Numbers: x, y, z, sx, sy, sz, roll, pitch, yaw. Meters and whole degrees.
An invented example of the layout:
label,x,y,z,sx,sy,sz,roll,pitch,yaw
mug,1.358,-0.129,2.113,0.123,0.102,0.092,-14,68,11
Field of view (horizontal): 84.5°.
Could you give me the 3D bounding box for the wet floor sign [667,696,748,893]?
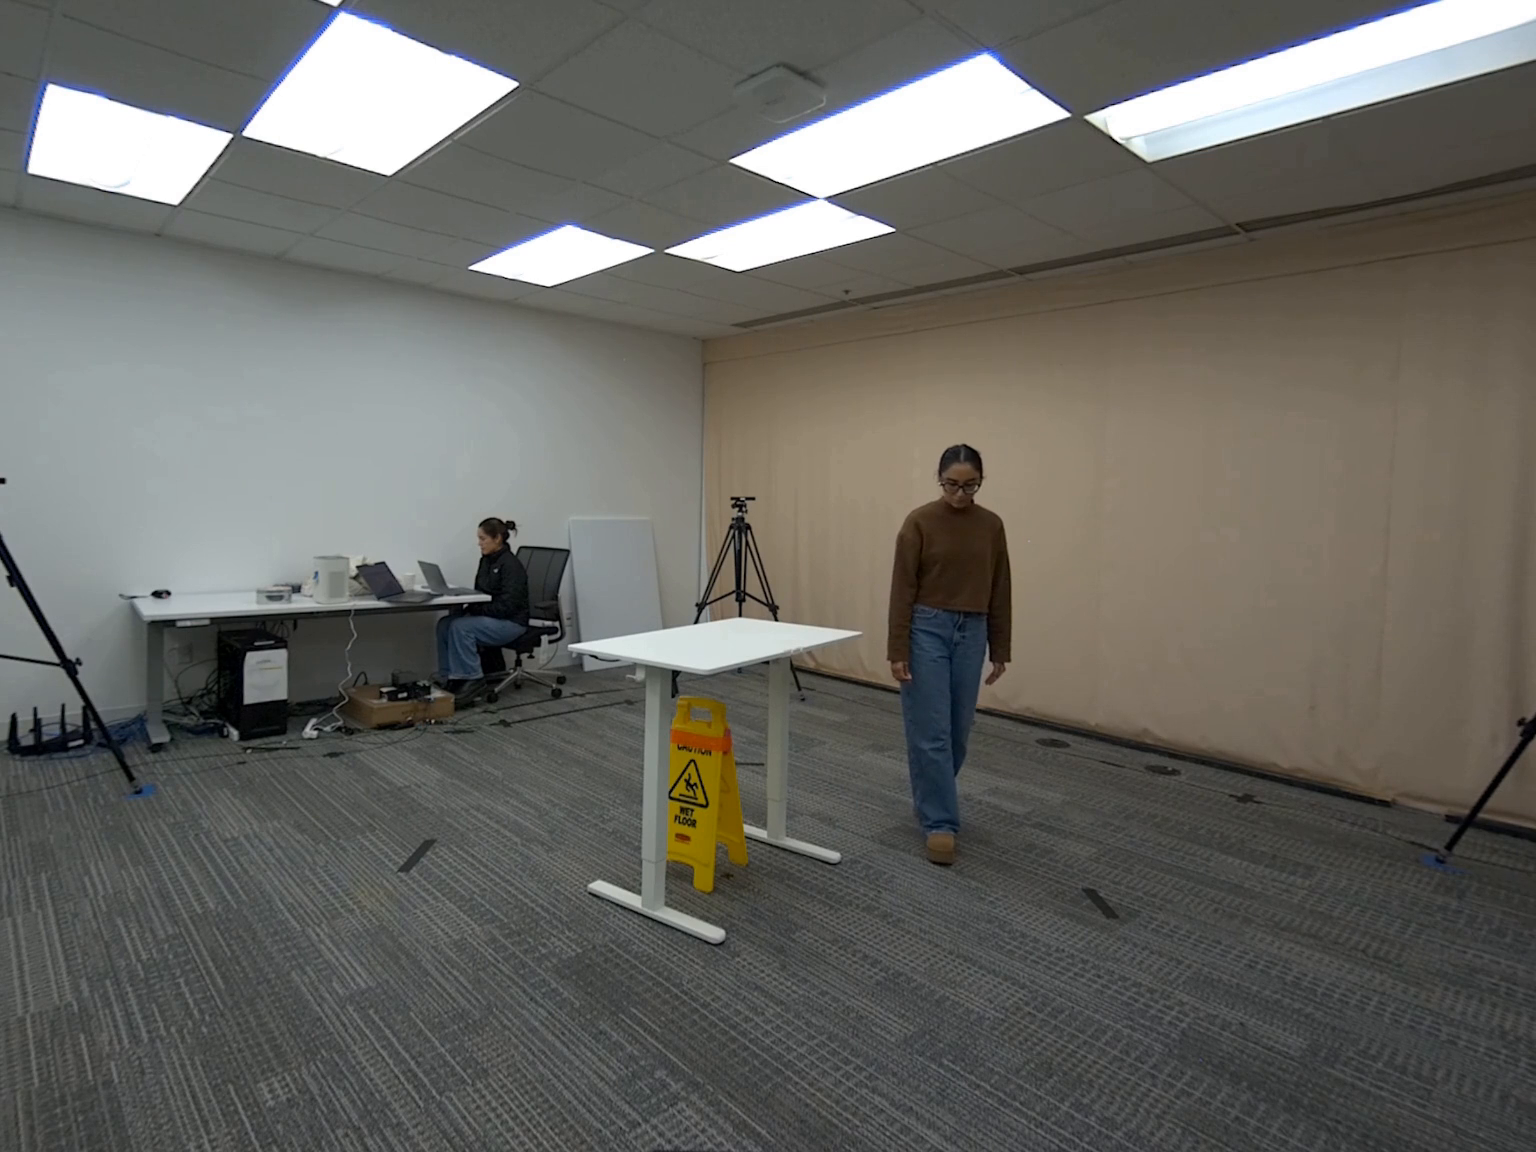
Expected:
label,x,y,z,sx,sy,sz,roll,pitch,yaw
wet floor sign,-0.260,0.778,3.136,0.288,0.645,0.284,3,3,28
